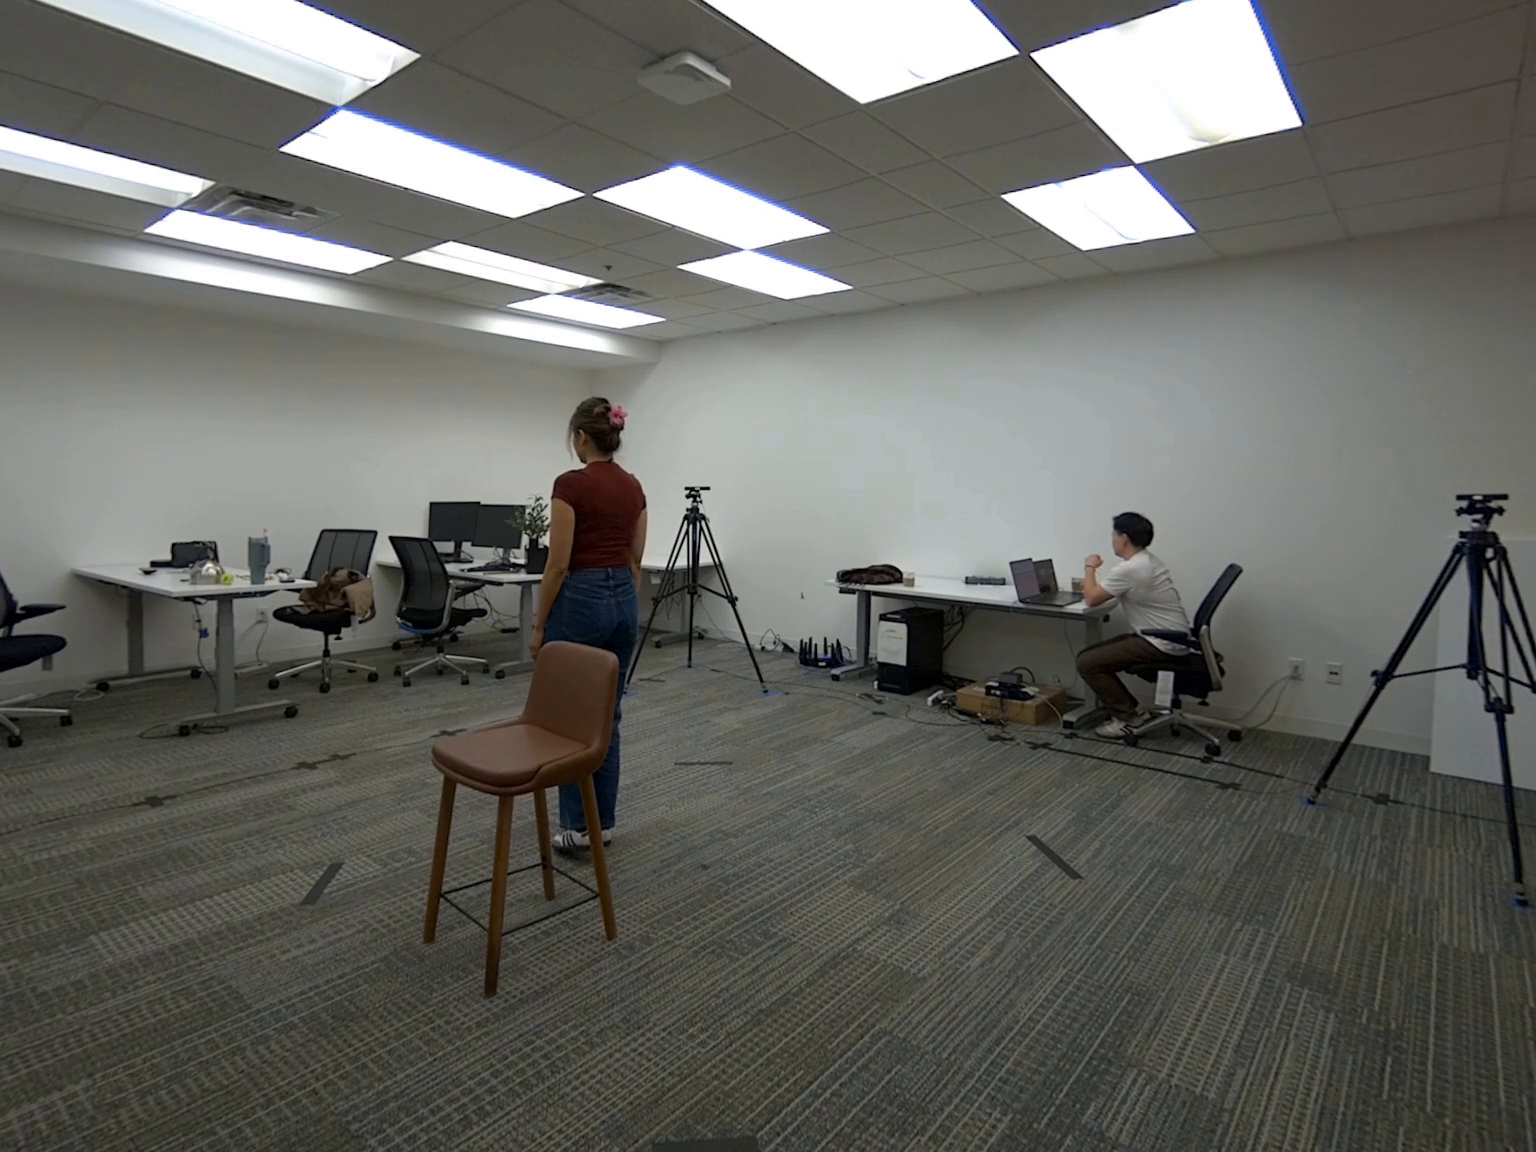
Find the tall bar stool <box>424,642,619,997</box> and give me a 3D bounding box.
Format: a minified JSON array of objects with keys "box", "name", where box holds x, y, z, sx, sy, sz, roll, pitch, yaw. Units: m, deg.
[{"box":[-0.749,0.674,2.580,0.472,0.888,0.453,4,3,44],"name":"tall bar stool"}]
